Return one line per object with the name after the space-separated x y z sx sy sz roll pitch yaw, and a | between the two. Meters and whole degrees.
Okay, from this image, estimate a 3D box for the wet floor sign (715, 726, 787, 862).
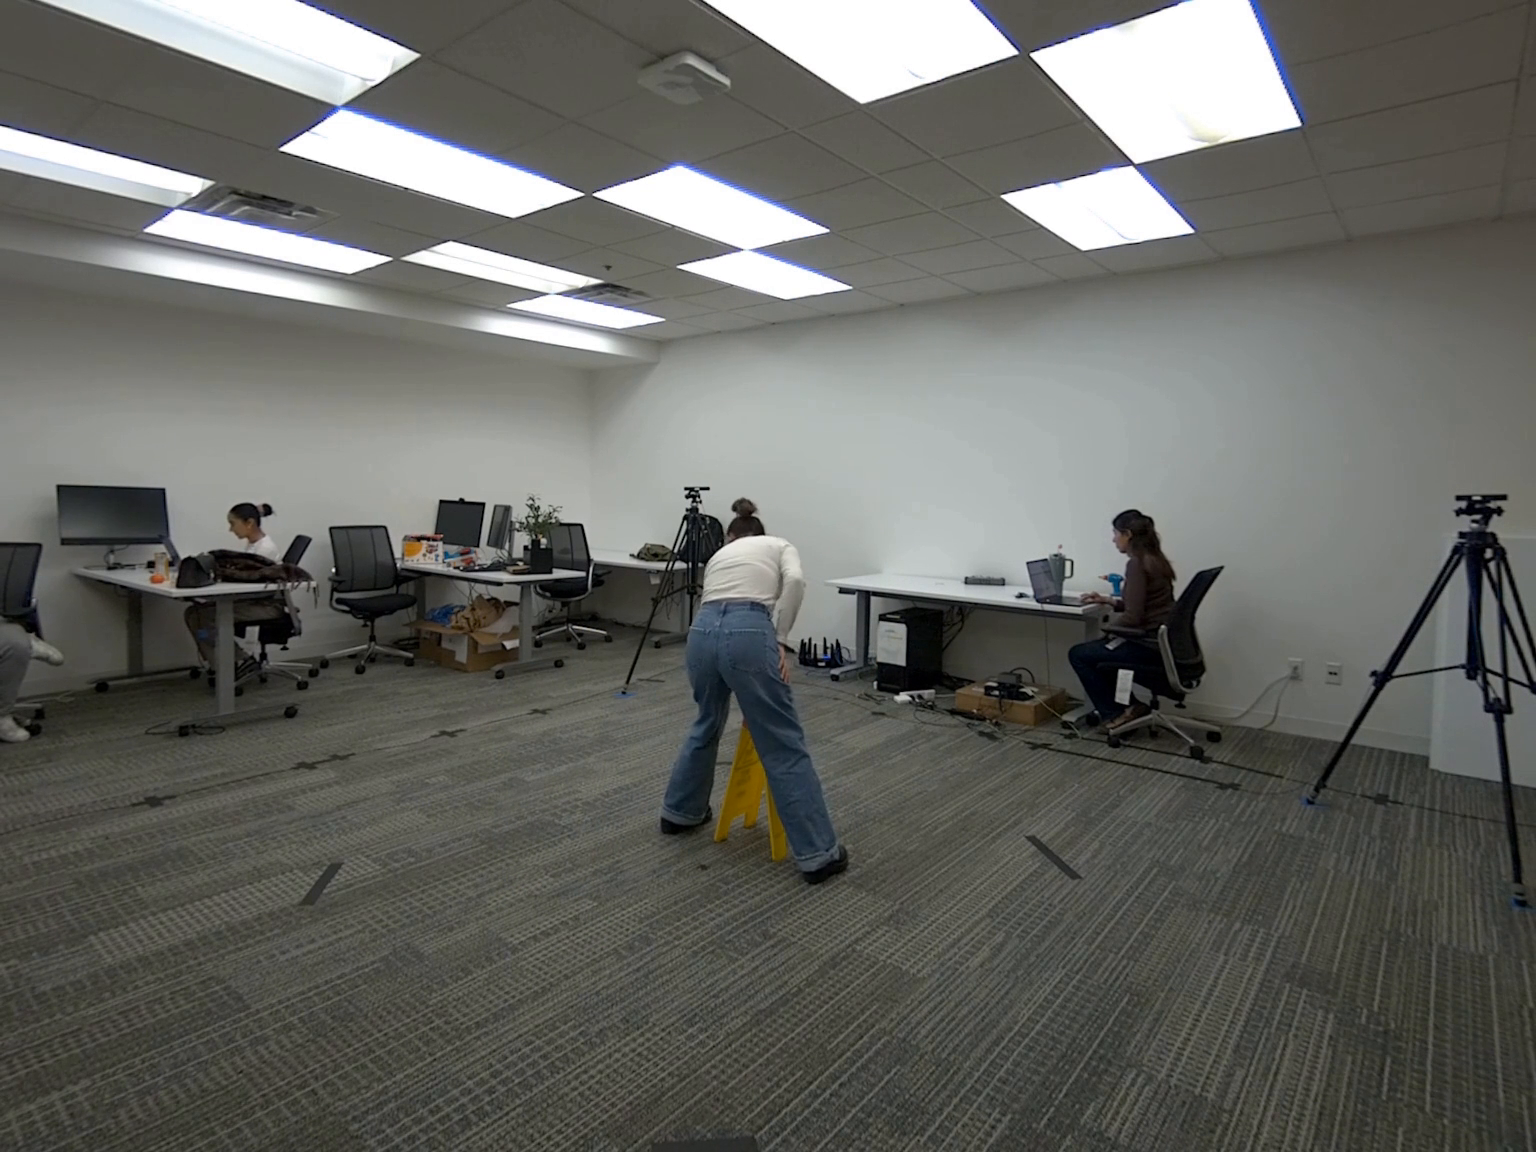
-0.006 0.725 3.348 0.299 0.645 0.274 4 3 34 | wet floor sign
